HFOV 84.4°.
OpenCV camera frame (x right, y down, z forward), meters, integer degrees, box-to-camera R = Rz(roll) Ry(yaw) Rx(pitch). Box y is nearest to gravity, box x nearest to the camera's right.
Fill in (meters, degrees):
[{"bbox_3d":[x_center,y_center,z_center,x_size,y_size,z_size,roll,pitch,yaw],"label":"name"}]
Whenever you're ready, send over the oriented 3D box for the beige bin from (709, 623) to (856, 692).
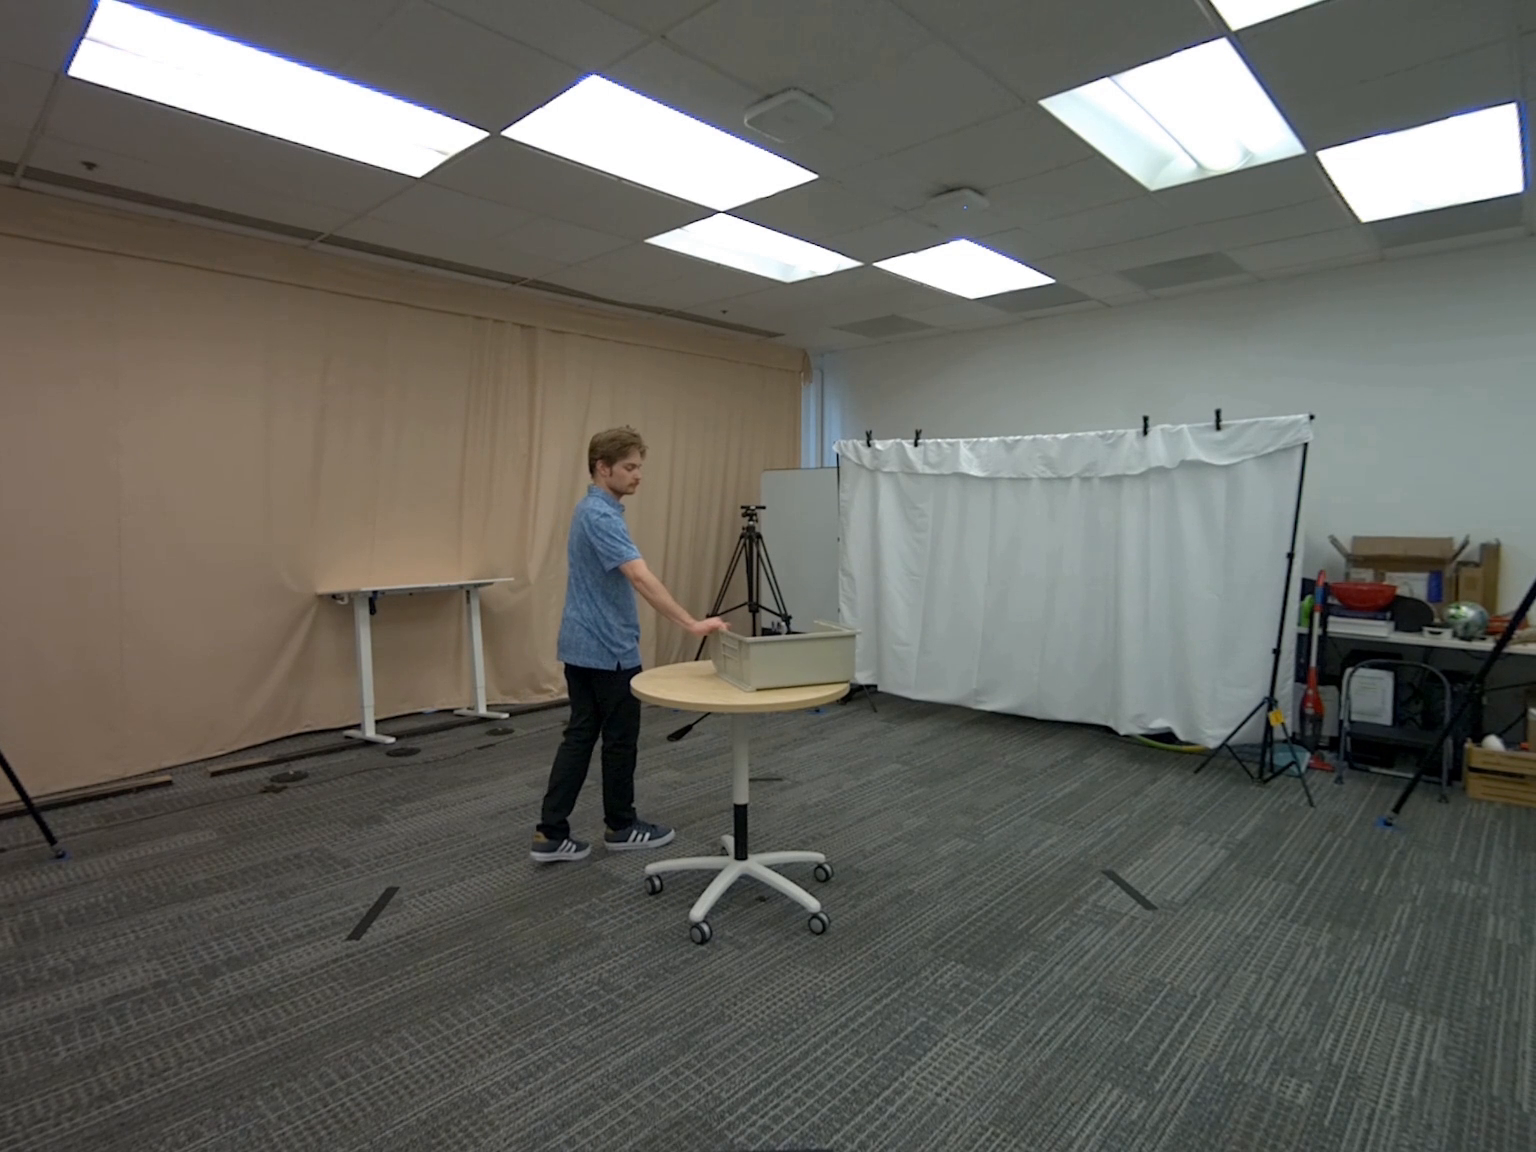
[{"bbox_3d":[0.057,0.270,2.959,0.414,0.188,0.386,-2,5,-21],"label":"beige bin"}]
